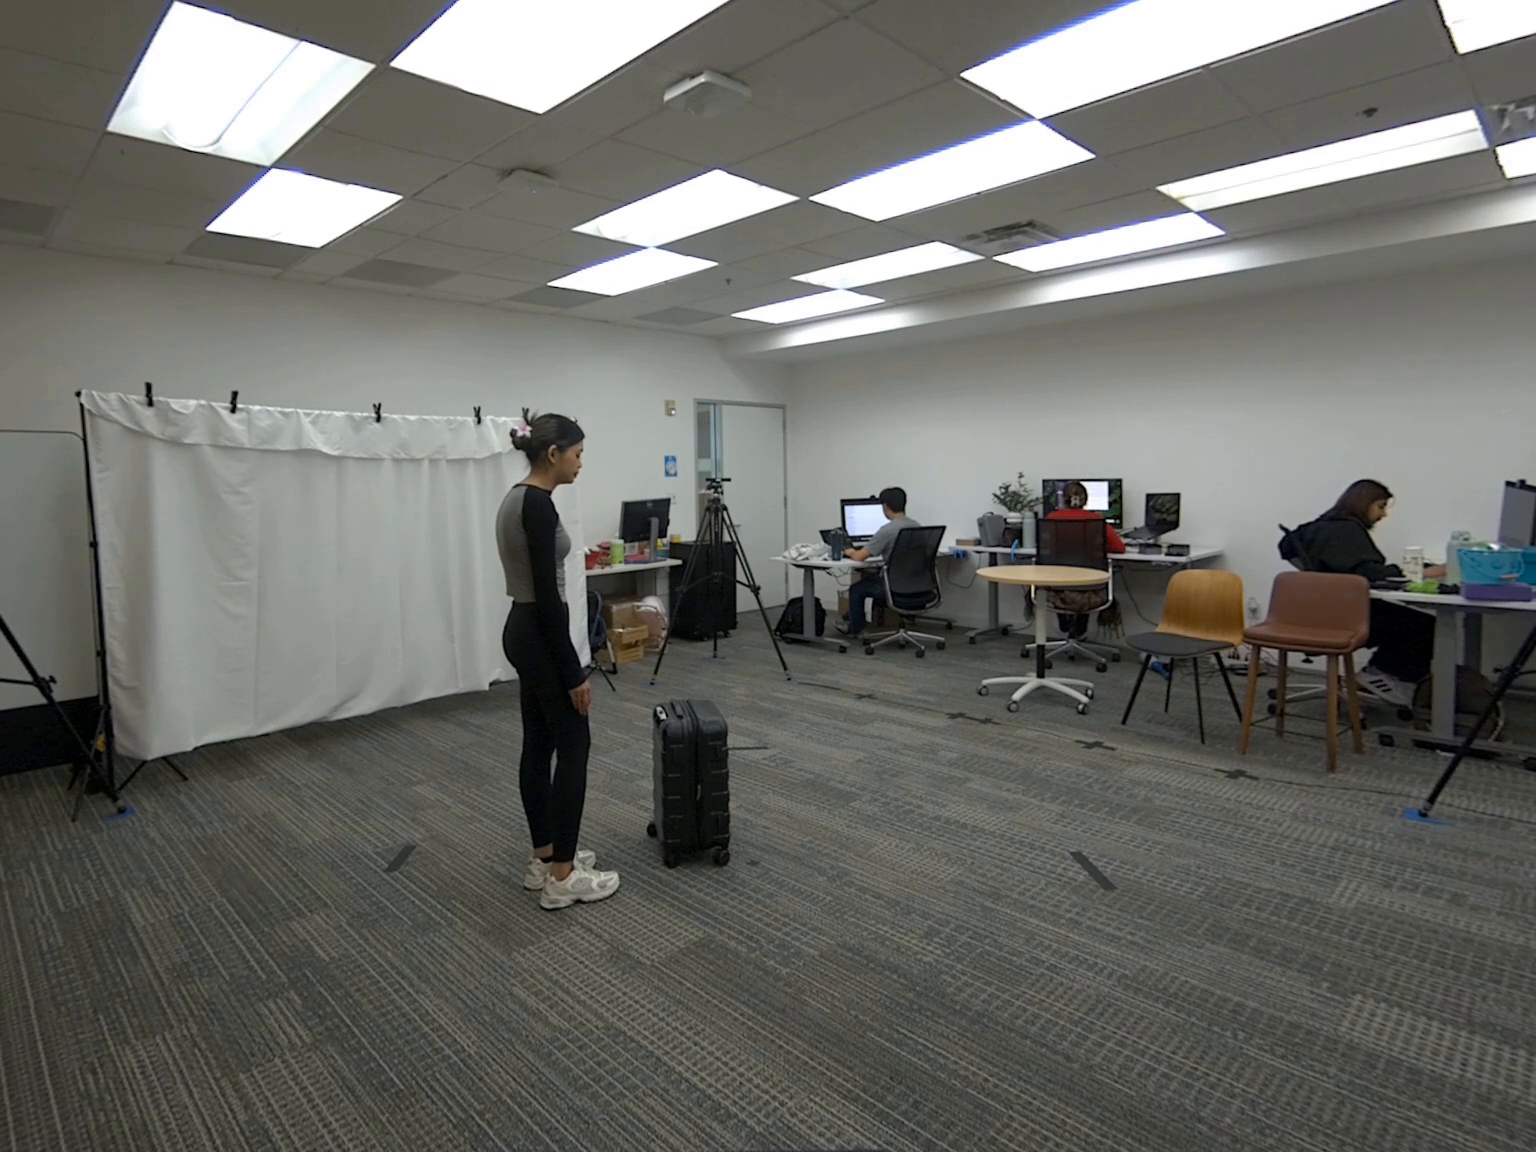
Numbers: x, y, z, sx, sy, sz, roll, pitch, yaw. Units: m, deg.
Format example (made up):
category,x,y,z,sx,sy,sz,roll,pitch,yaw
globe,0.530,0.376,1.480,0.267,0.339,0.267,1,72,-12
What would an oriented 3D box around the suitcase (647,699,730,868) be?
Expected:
category,x,y,z,sx,sy,sz,roll,pitch,yaw
suitcase,-0.292,0.754,3.227,0.246,0.547,0.381,-2,4,-12
